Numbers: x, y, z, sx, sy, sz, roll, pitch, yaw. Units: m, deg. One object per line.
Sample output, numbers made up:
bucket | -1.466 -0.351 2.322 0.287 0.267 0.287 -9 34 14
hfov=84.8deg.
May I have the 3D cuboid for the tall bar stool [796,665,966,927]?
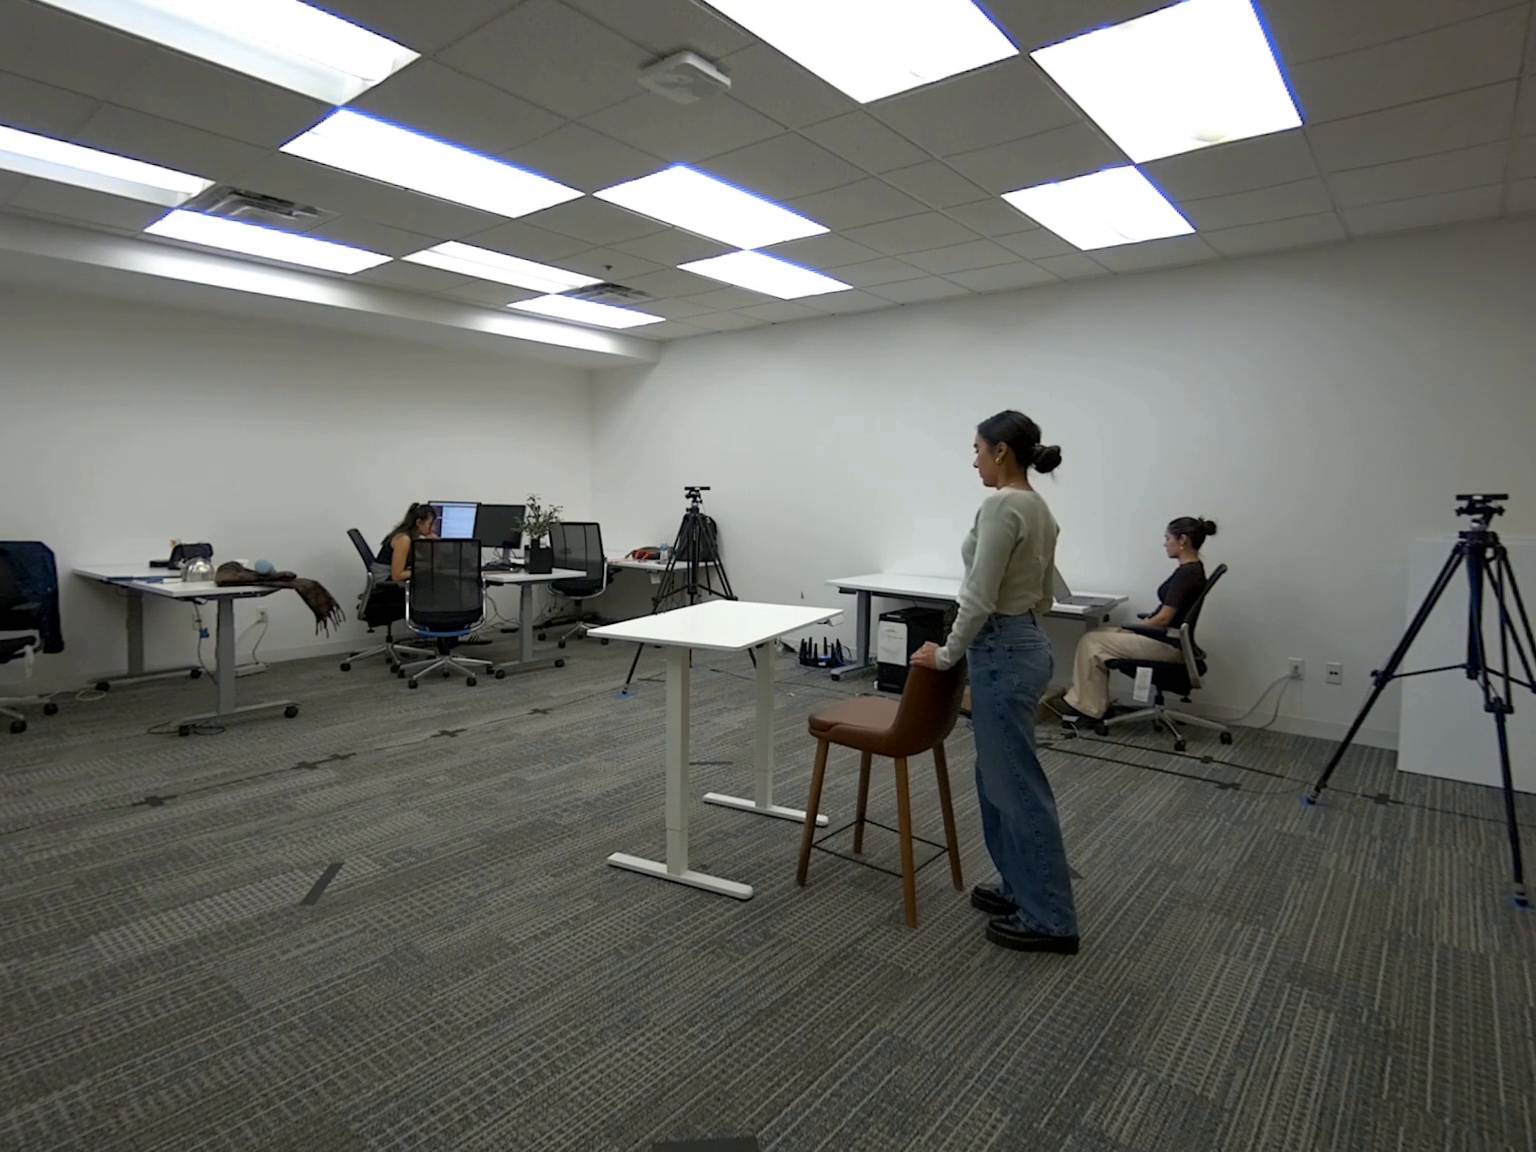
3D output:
tall bar stool | 0.405 0.649 2.969 0.484 0.886 0.443 7 6 40
